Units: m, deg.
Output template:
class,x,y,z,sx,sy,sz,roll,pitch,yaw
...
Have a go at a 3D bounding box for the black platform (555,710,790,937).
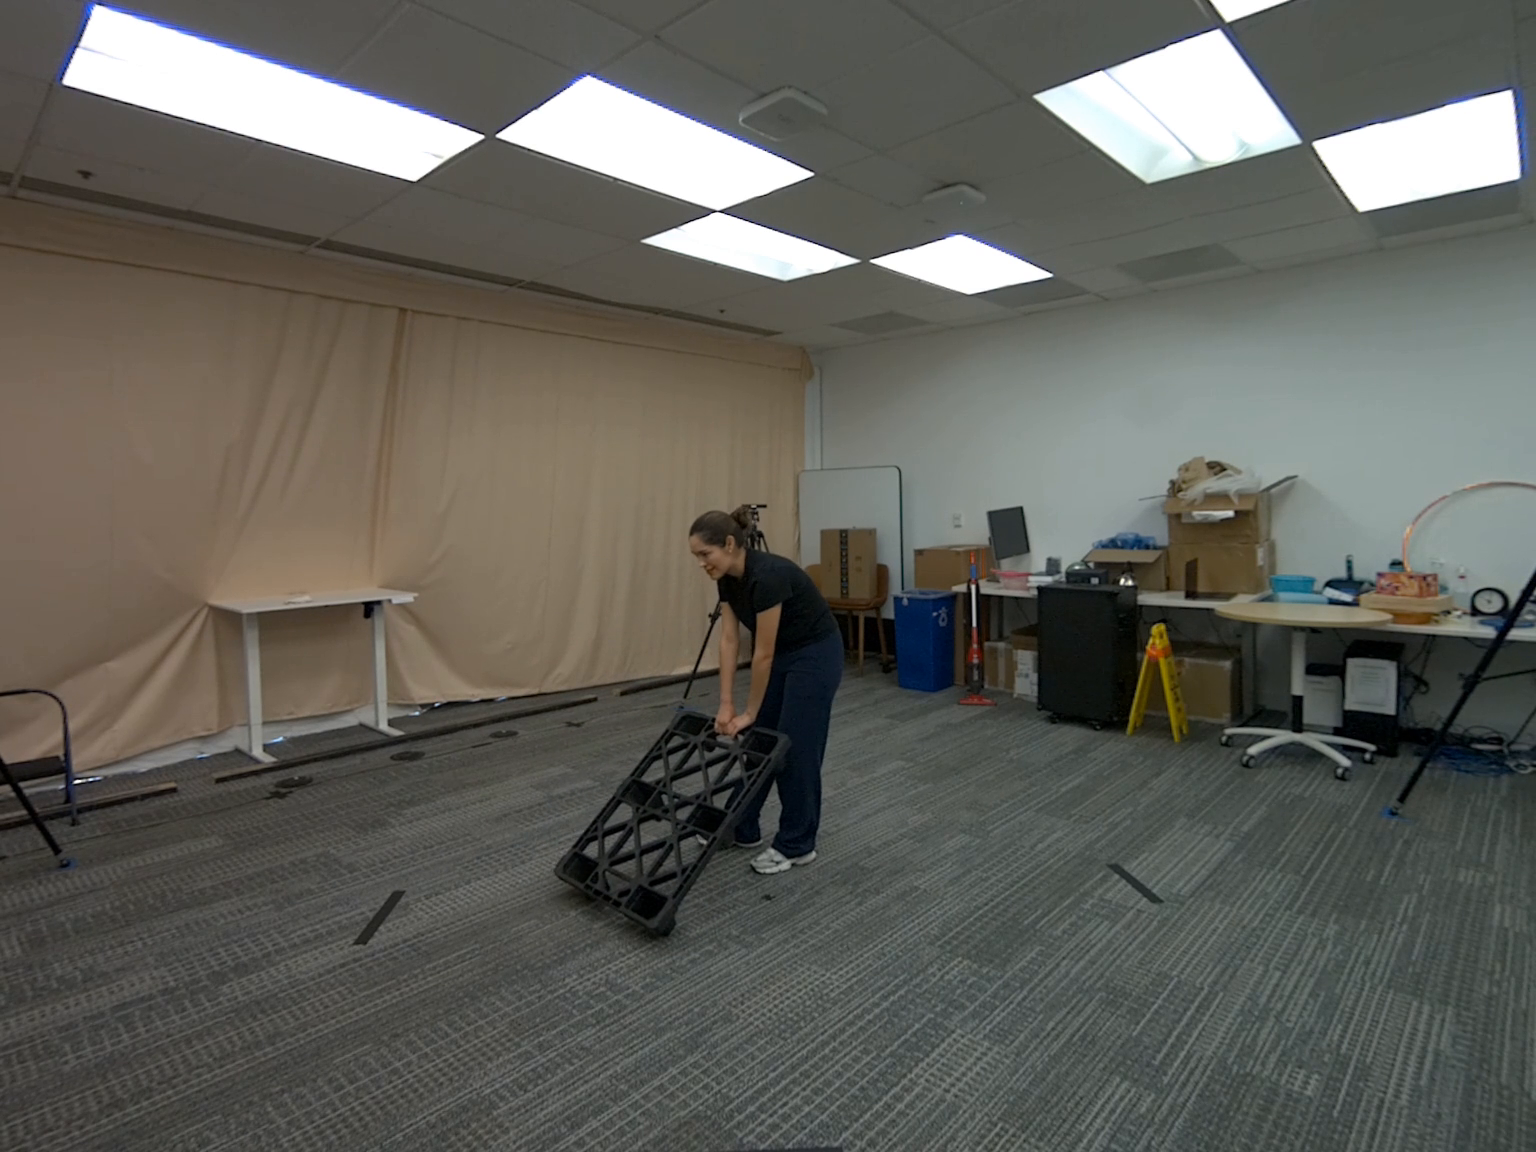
class,x,y,z,sx,sy,sz,roll,pitch,yaw
black platform,-0.305,0.864,3.054,0.625,0.139,0.801,4,45,45
